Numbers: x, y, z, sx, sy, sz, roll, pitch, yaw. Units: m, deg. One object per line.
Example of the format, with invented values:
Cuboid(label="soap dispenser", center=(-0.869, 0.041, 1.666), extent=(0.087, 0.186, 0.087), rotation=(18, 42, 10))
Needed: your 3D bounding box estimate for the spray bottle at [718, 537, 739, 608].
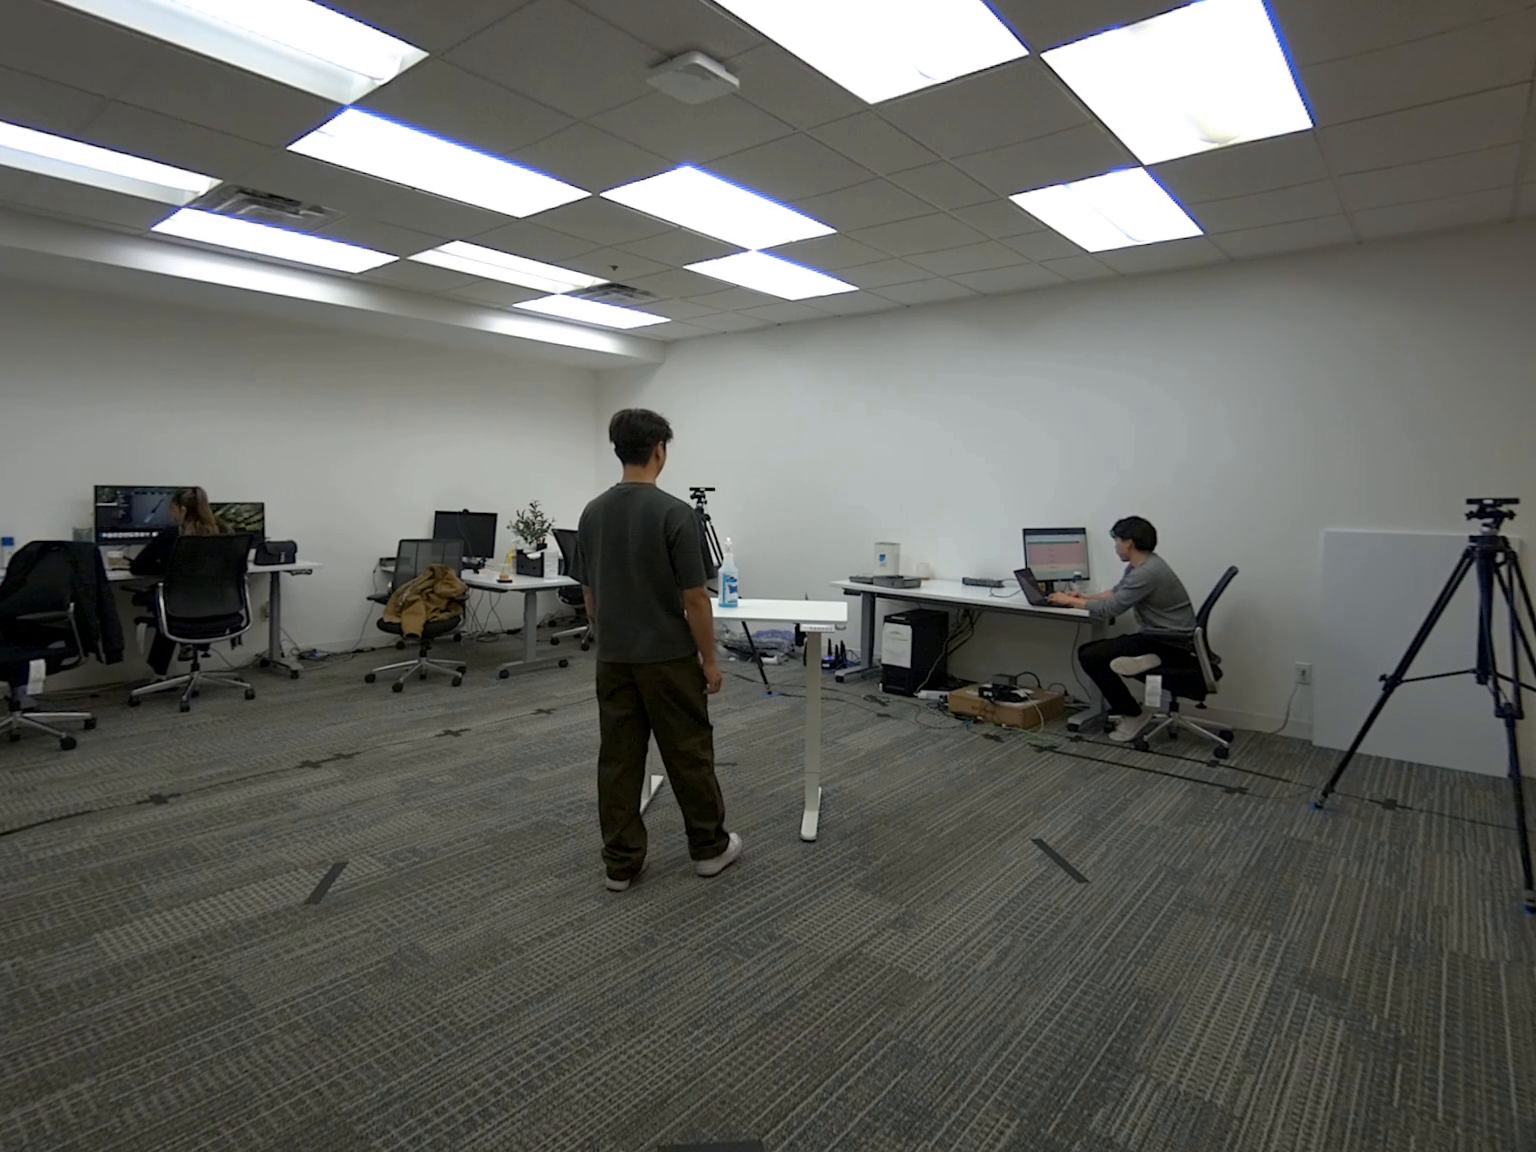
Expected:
Cuboid(label="spray bottle", center=(-0.184, -0.019, 3.687), extent=(0.089, 0.297, 0.088), rotation=(2, 2, 21))
